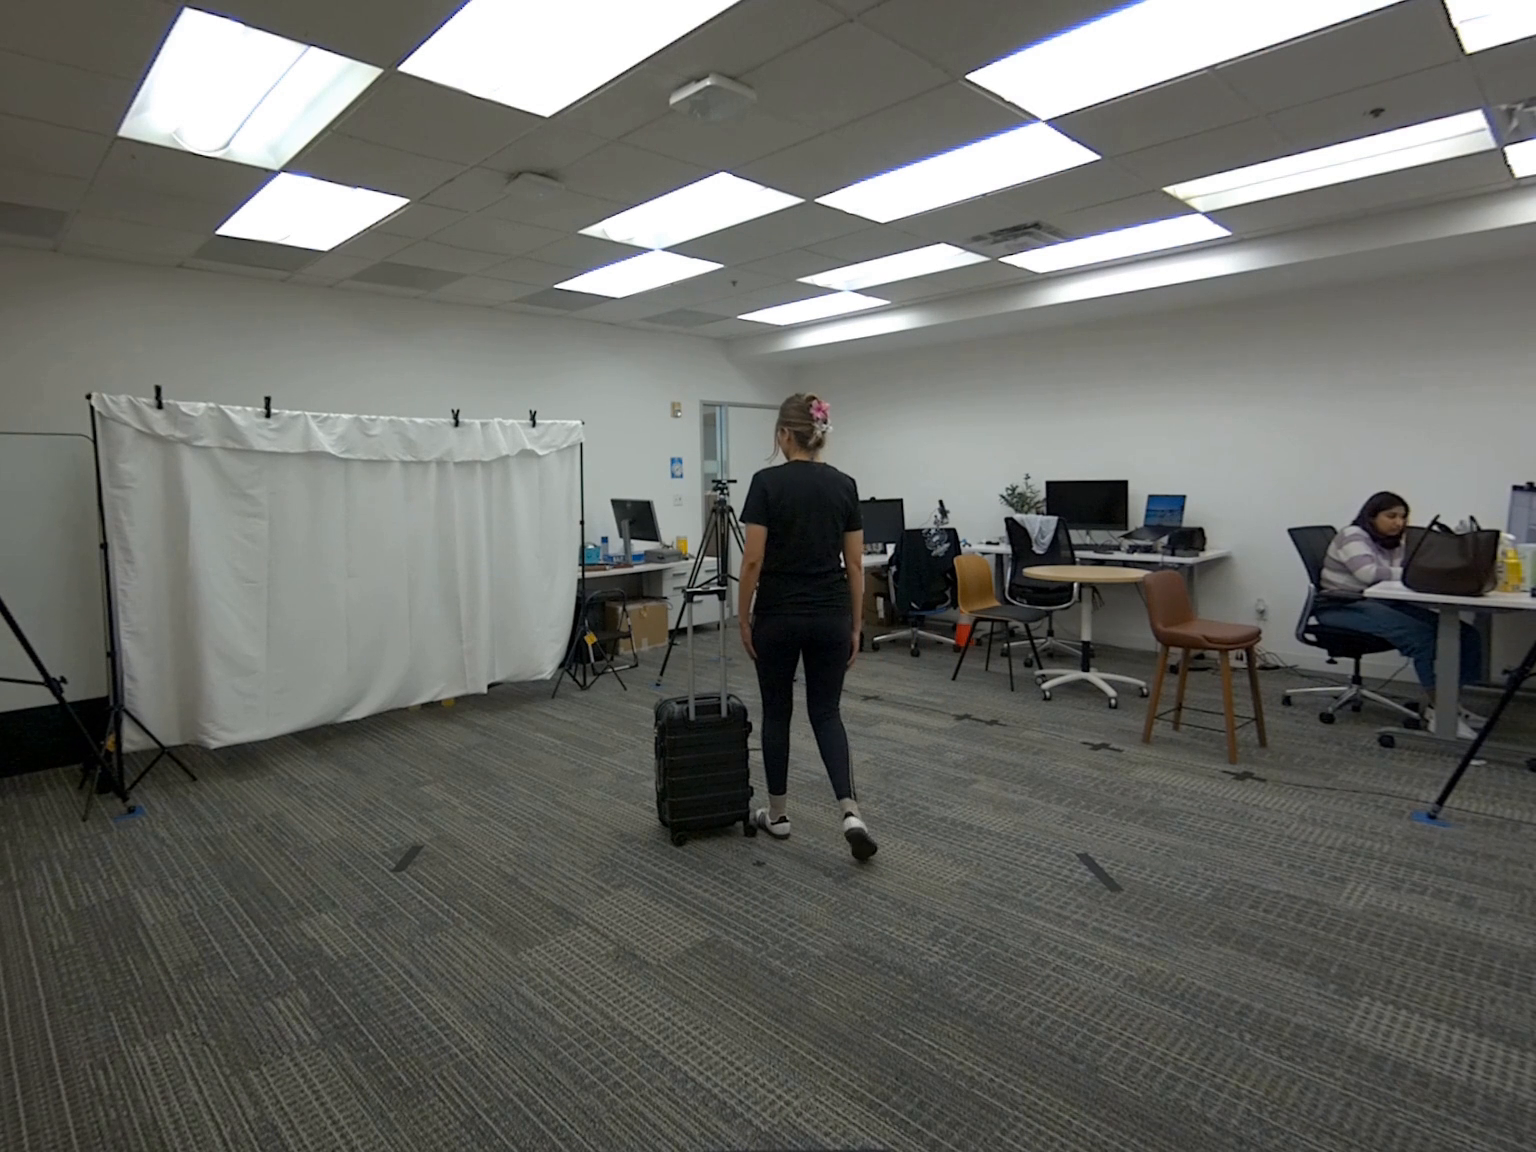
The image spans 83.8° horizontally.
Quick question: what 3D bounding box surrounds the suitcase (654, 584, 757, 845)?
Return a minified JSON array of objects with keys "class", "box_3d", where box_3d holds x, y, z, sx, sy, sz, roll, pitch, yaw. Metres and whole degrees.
[{"class":"suitcase","box_3d":[-0.274,0.541,3.397,0.378,0.976,0.261,-2,3,-16]}]
